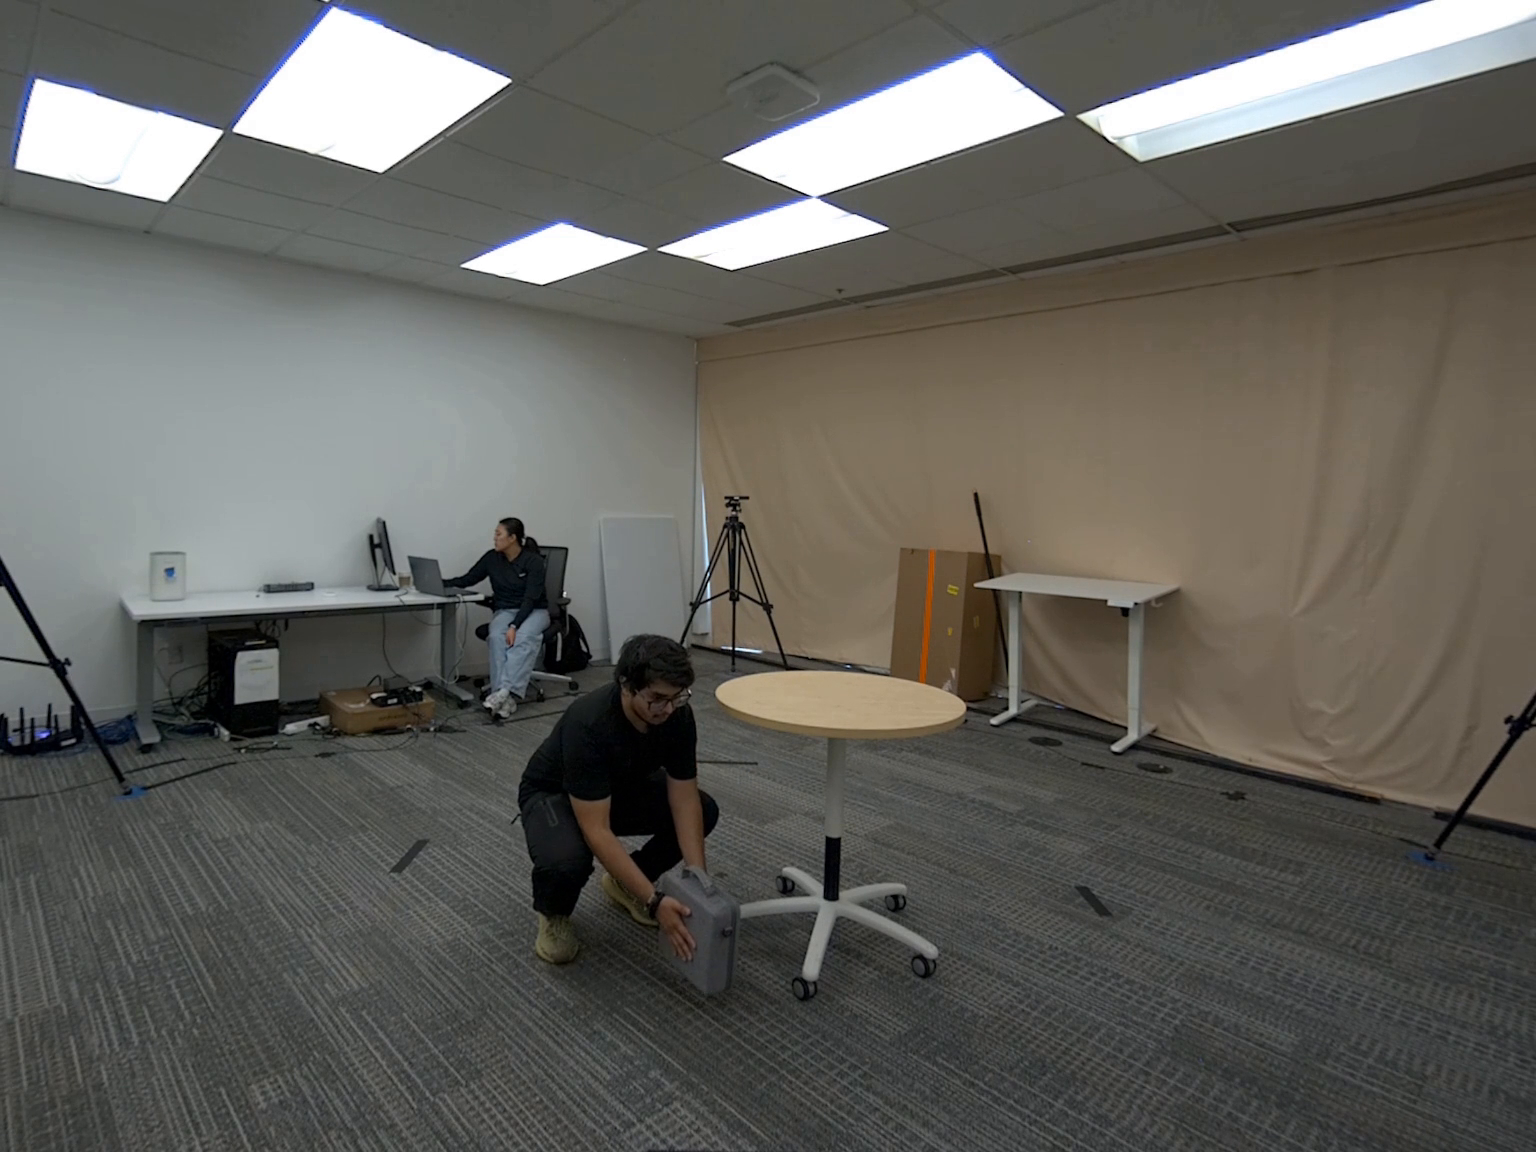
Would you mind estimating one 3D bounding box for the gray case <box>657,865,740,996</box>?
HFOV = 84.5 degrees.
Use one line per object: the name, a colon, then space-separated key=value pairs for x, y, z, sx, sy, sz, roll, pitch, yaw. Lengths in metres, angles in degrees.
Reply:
gray case: x=-0.205 y=0.970 z=2.297 sx=0.102 sy=0.259 sz=0.264 roll=-3 pitch=10 yaw=-40
